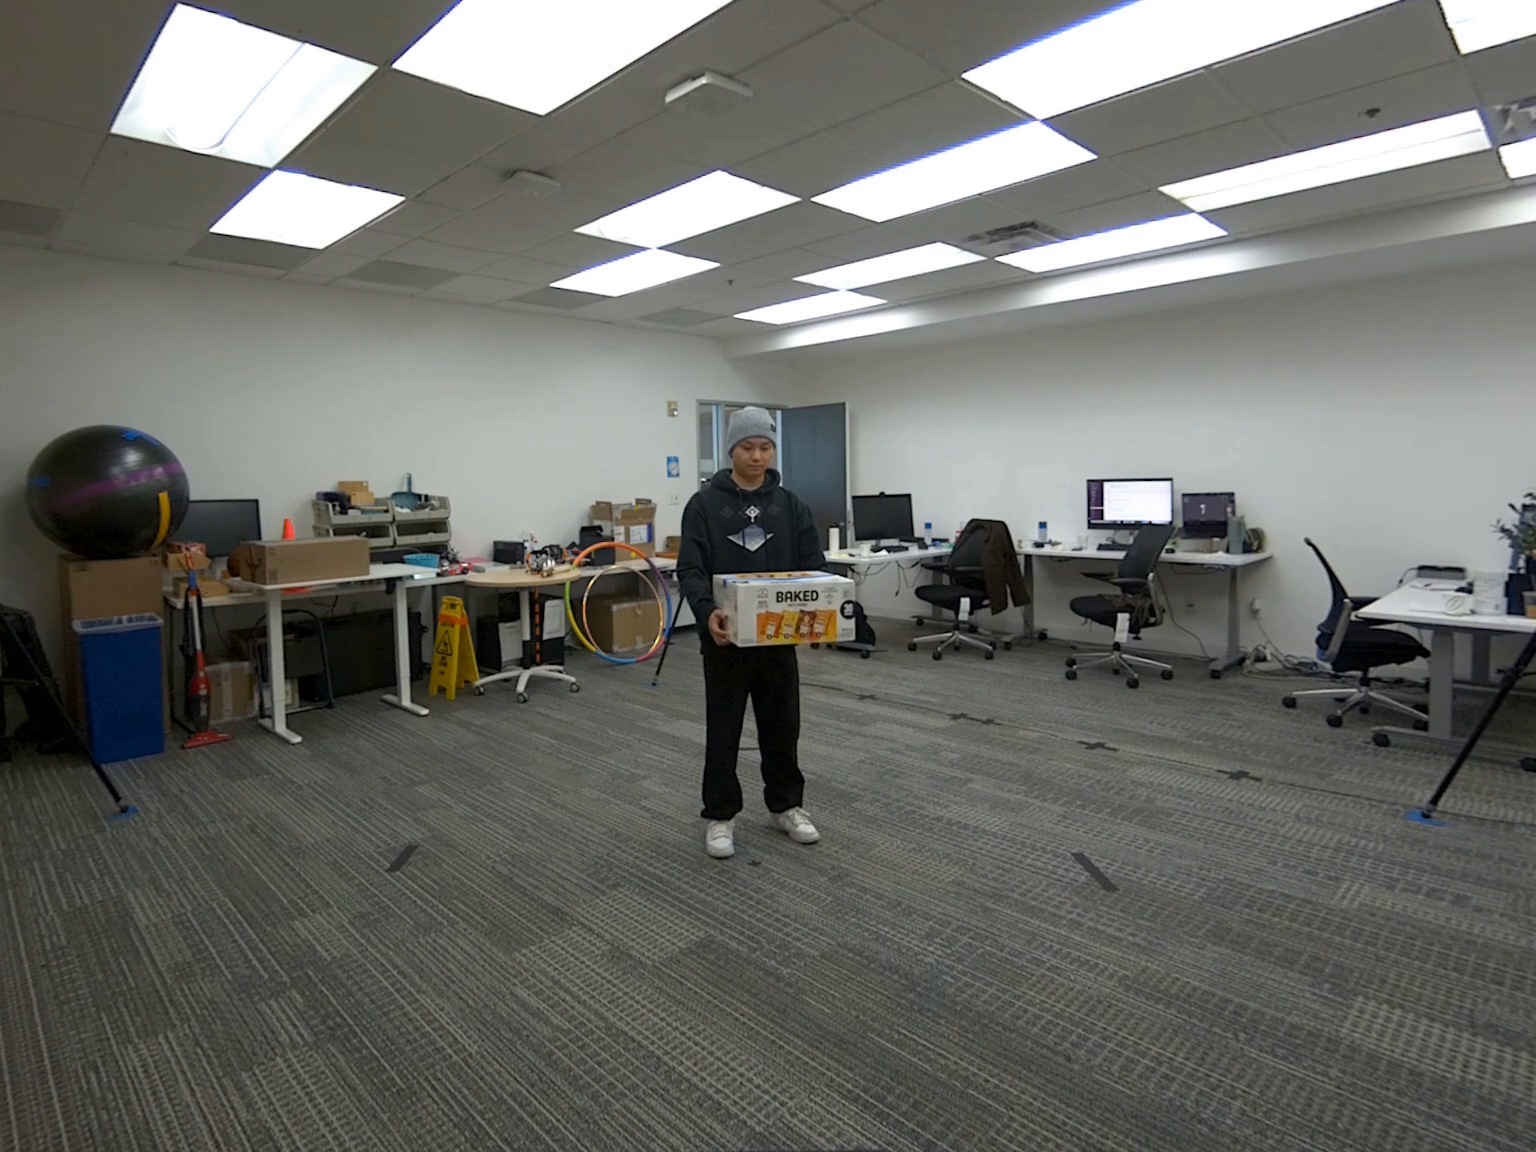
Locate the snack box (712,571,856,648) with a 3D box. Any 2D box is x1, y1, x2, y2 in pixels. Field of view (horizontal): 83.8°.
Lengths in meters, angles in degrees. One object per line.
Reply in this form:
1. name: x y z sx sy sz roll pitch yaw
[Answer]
1. snack box: 0.047 0.109 2.937 0.400 0.205 0.346 -2 5 -14
